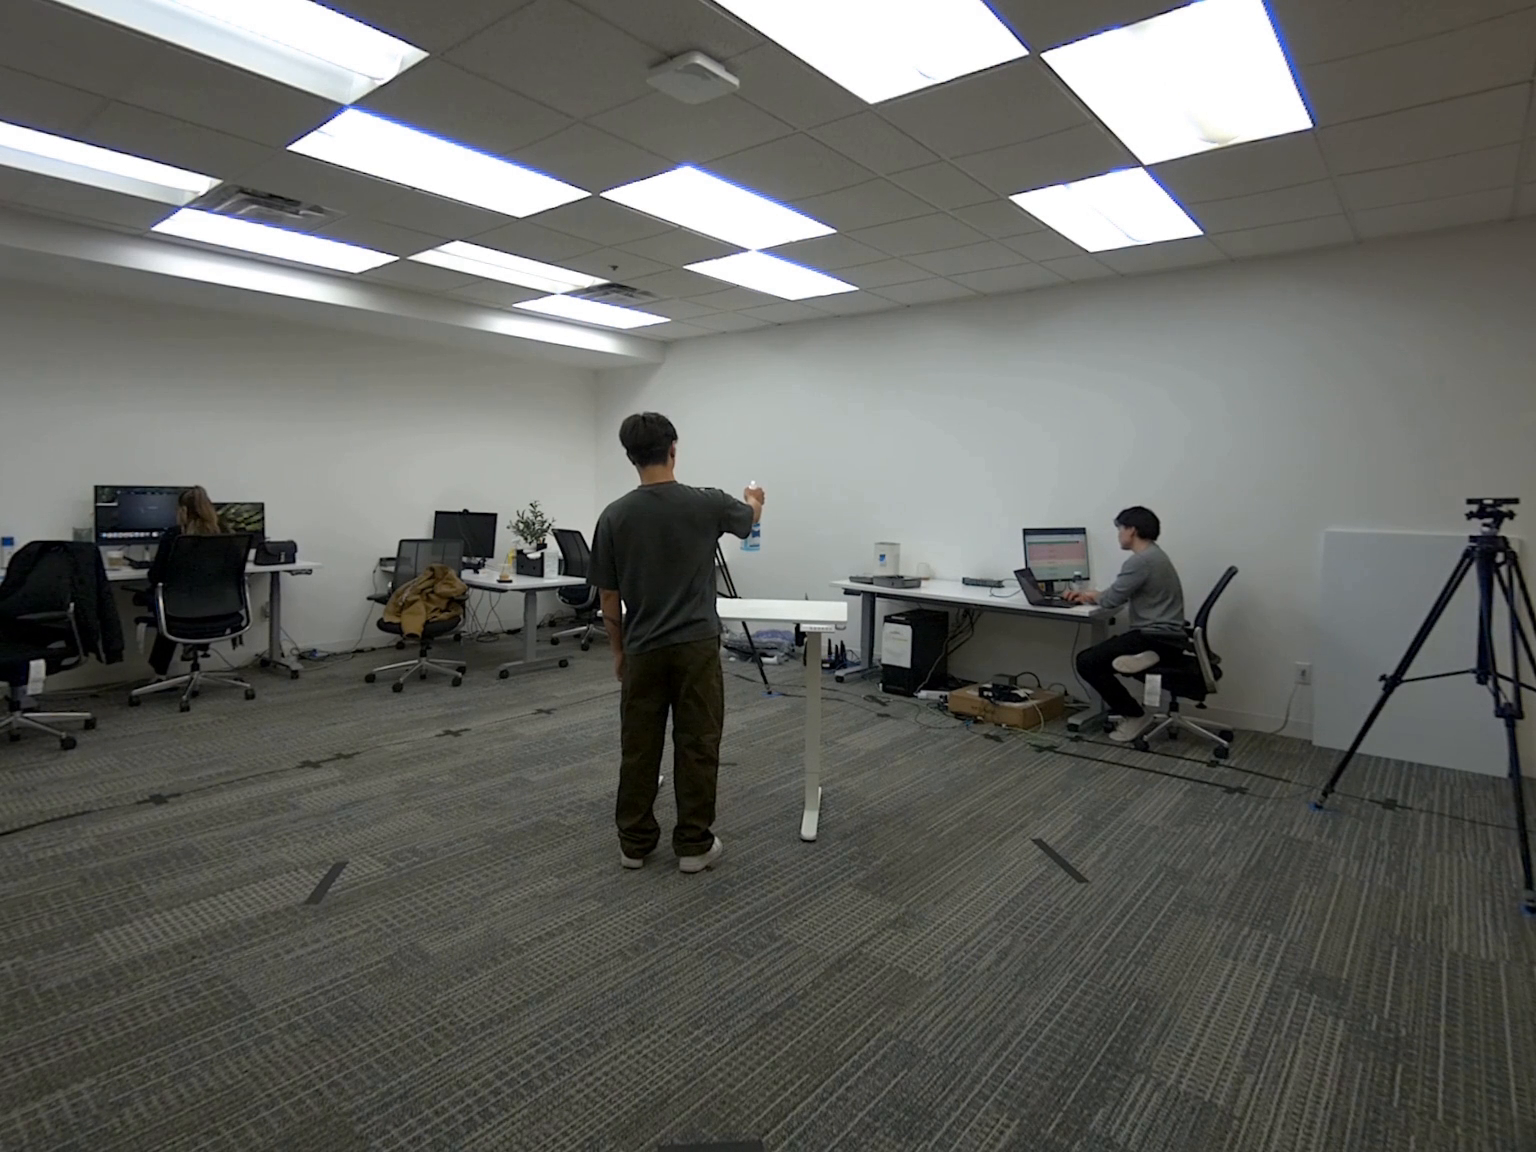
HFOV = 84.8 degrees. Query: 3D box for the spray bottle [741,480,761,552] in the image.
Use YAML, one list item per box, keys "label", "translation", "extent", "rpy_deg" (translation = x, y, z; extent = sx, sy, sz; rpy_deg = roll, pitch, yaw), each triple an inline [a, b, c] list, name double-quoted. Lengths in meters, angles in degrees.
- label: "spray bottle"
  translation: [-0.078, -0.261, 3.661]
  extent: [0.089, 0.295, 0.088]
  rpy_deg: [7, 10, 25]
